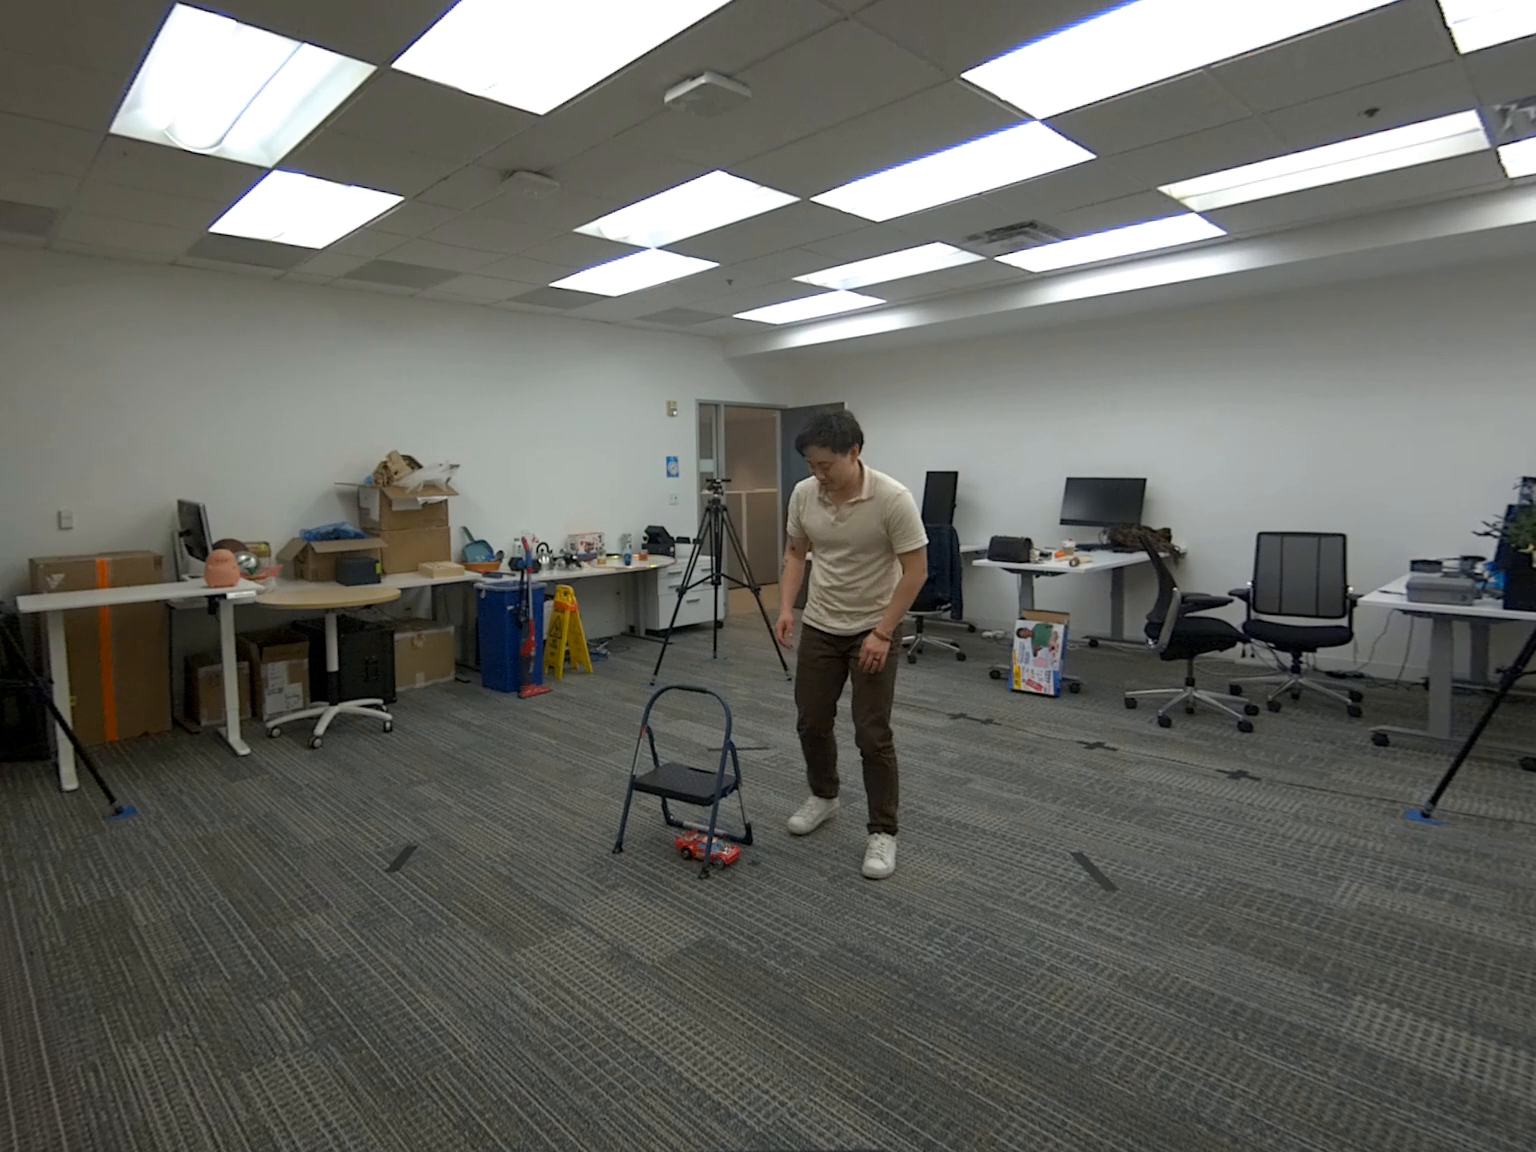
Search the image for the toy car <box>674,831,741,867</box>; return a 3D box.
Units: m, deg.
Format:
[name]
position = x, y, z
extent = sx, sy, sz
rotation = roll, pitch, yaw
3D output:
[toy car]
position = -0.227, 1.011, 3.157
extent = 0.263, 0.082, 0.127
rotation = 15, 14, 31
